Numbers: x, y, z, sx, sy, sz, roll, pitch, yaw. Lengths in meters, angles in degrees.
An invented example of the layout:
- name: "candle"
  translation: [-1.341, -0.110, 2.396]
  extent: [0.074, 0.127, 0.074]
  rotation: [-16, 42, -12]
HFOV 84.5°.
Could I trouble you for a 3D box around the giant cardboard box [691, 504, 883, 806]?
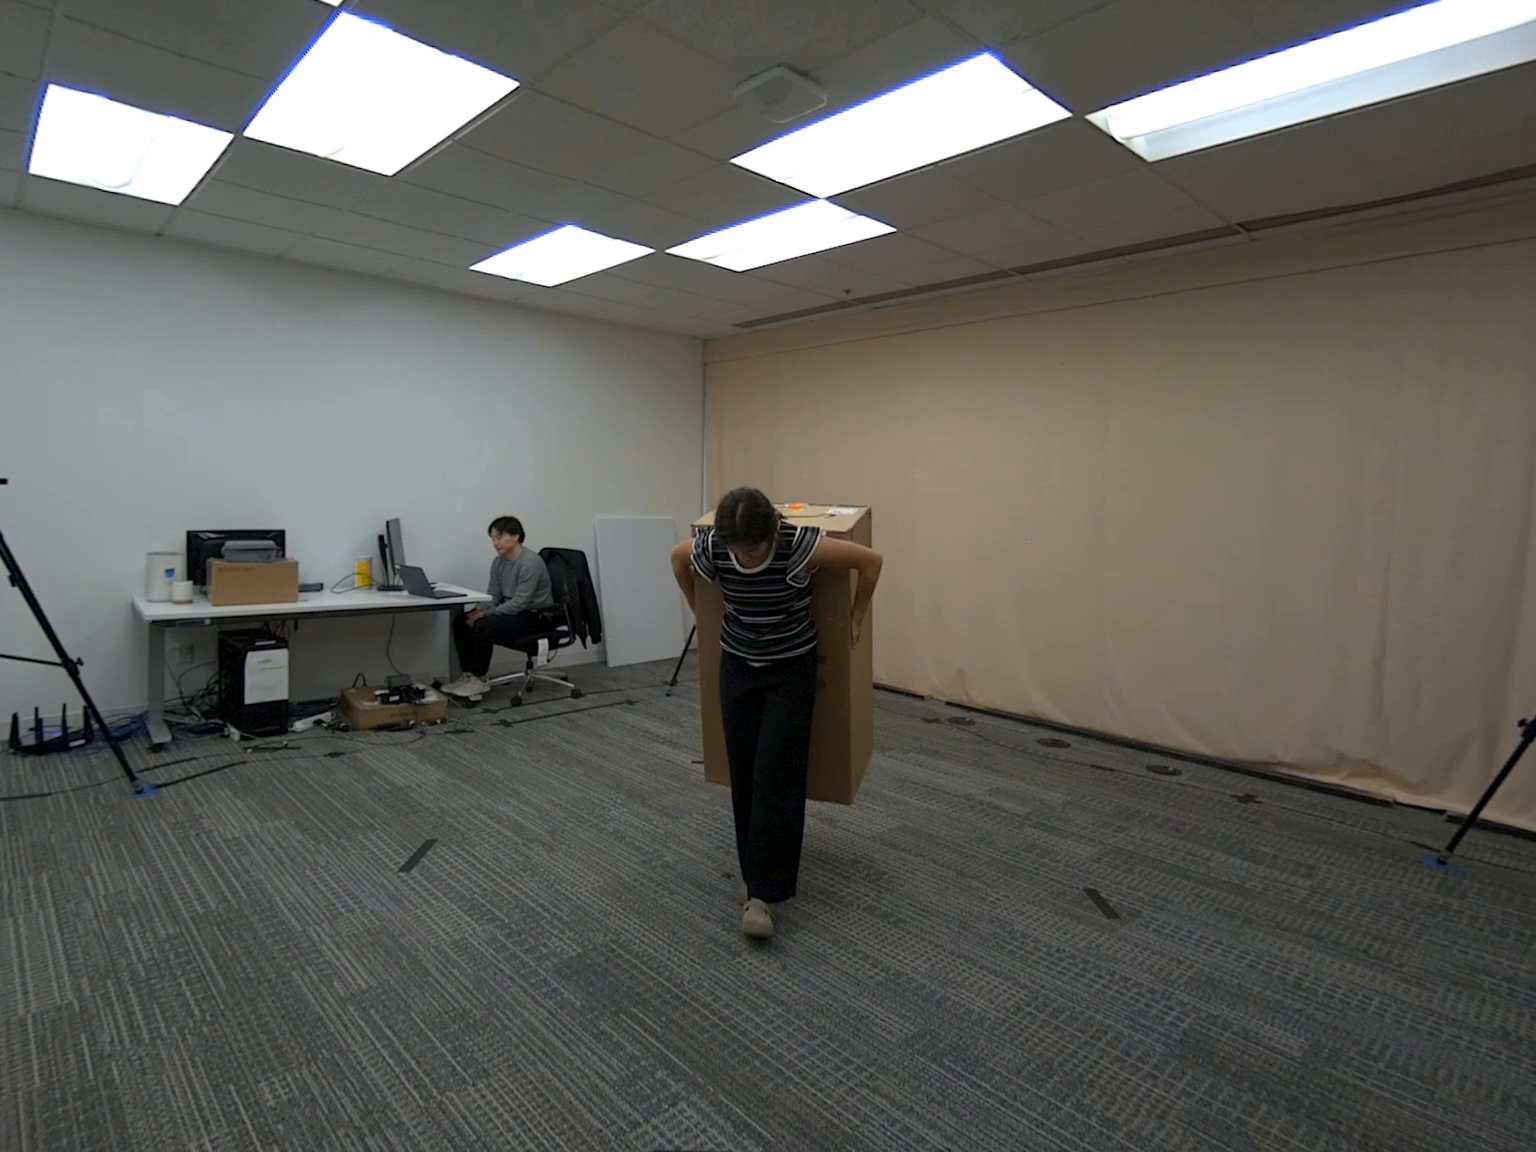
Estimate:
- name: "giant cardboard box"
  translation: [0.074, 0.268, 3.200]
  extent: [0.586, 1.015, 0.424]
  rotation: [3, 14, 18]
